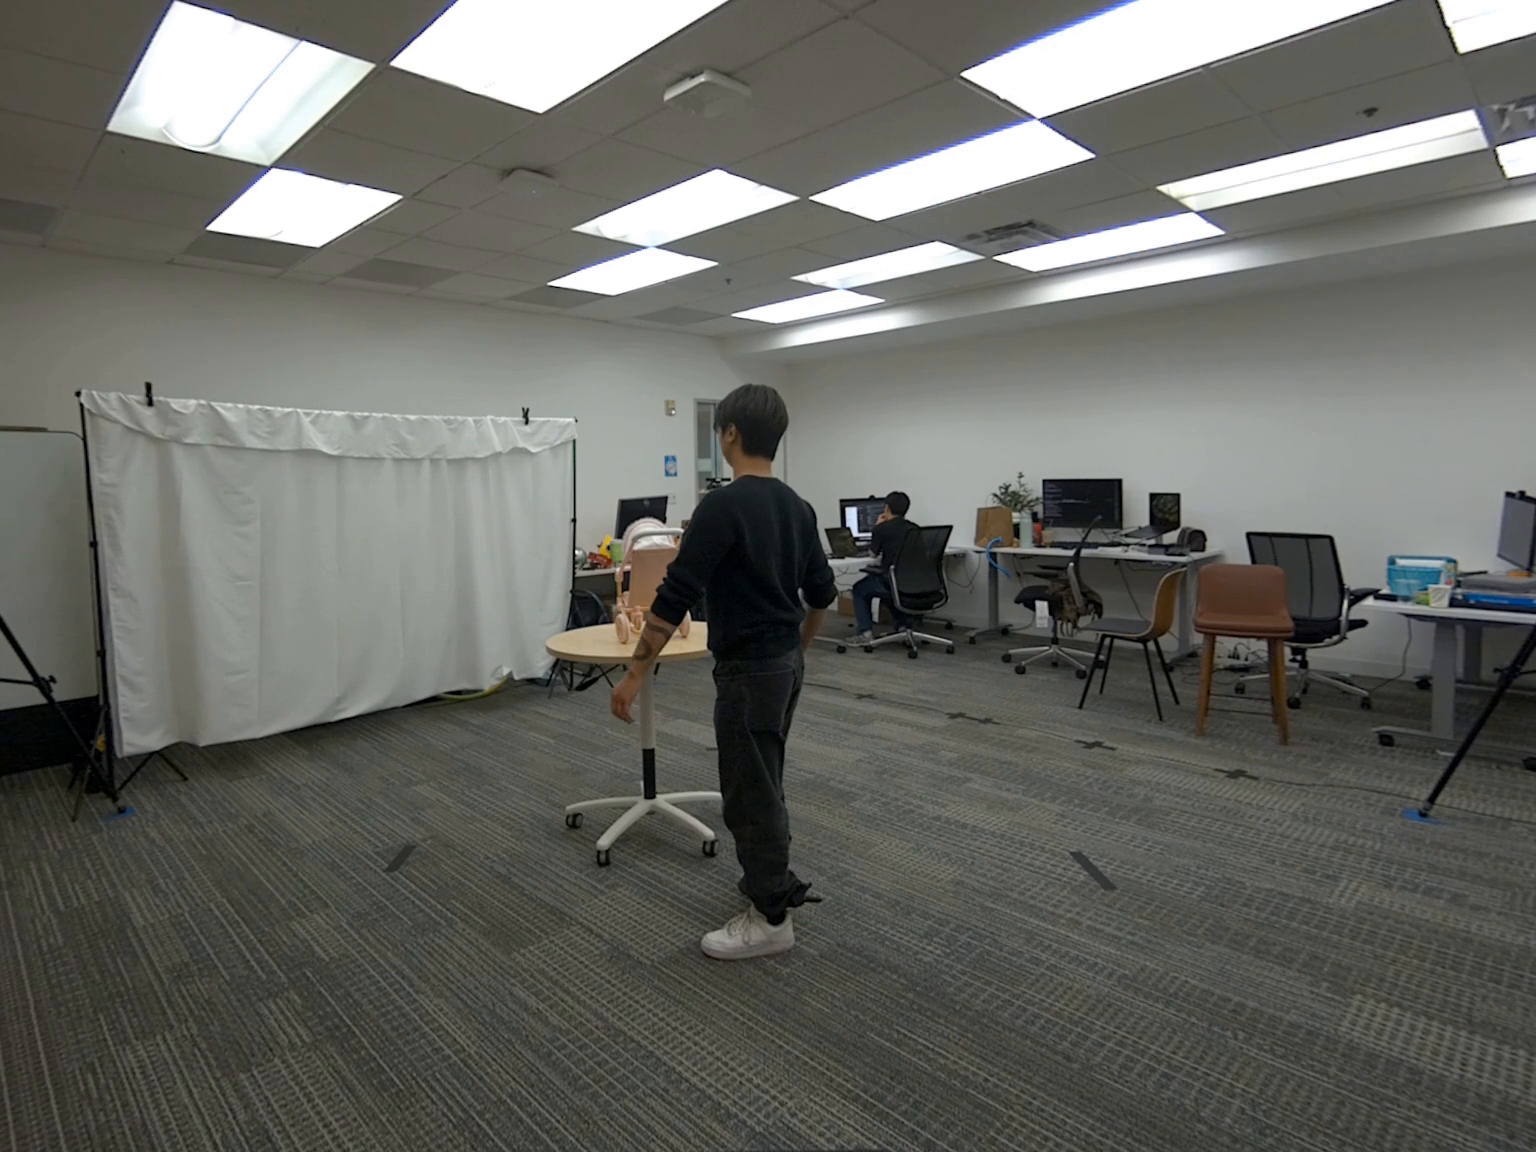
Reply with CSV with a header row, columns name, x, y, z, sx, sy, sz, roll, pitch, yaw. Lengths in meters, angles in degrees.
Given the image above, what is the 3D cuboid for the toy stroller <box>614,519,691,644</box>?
name,x,y,z,sx,sy,sz,roll,pitch,yaw
toy stroller,-0.463,0.016,3.326,0.277,0.527,0.352,-3,20,-19
